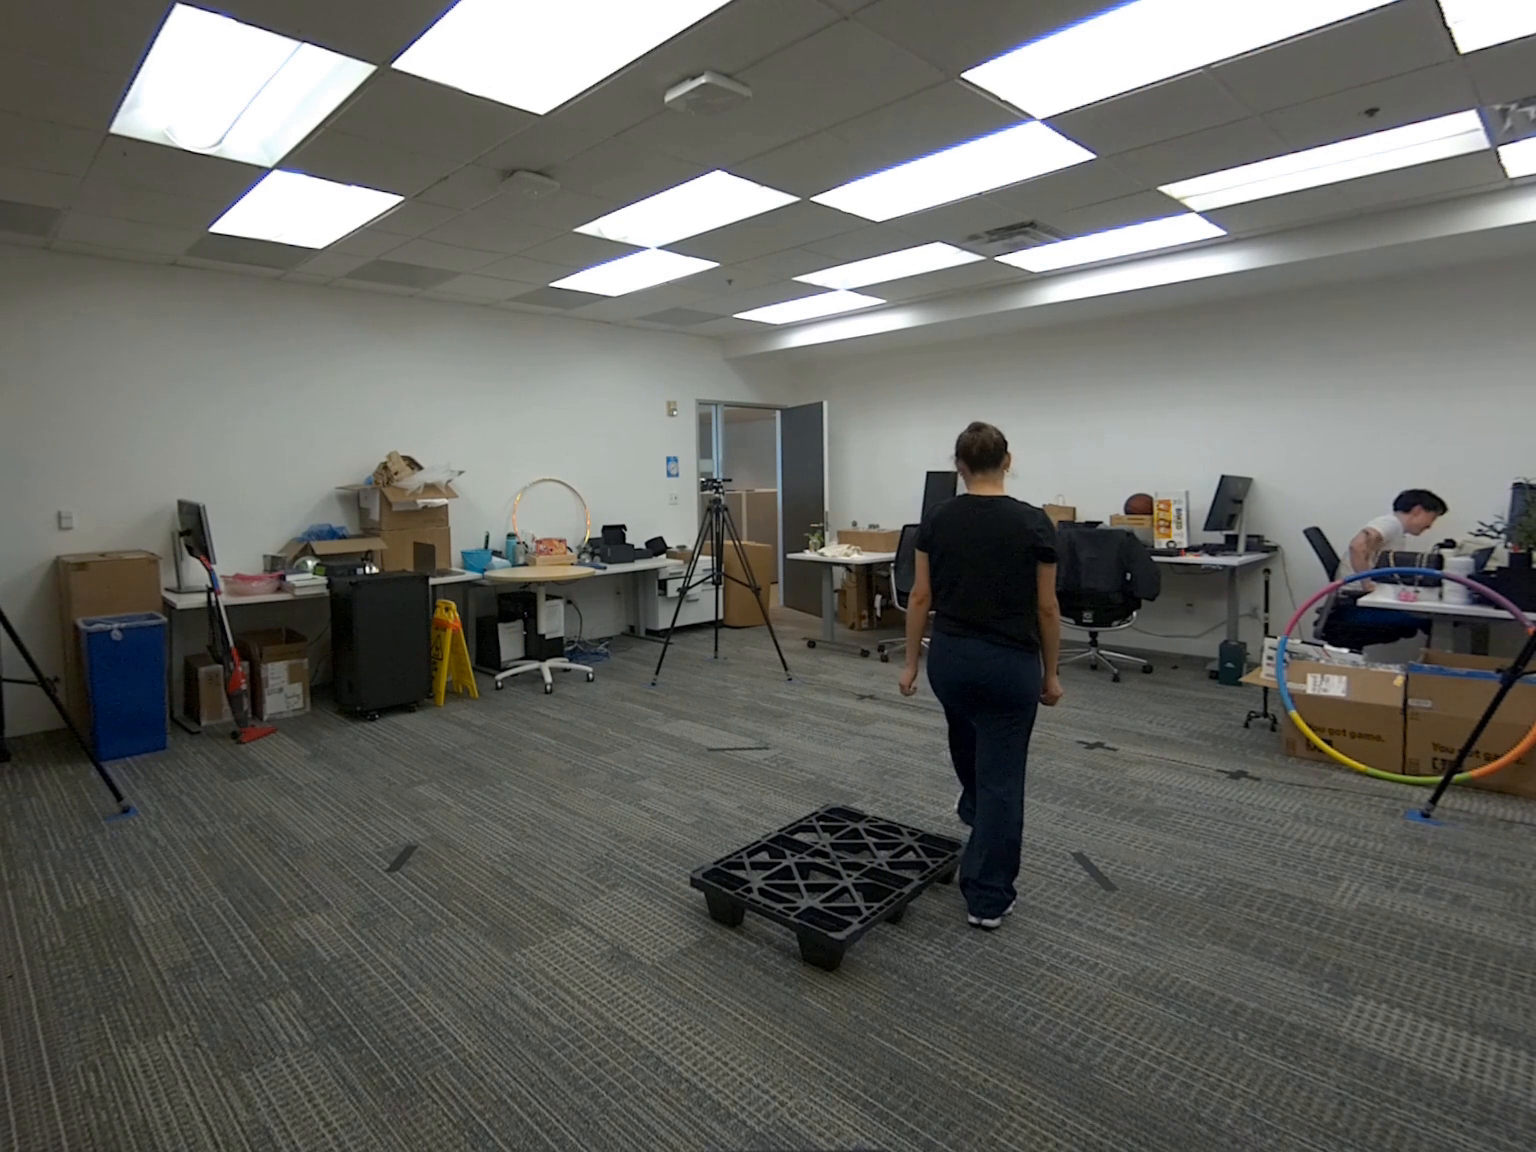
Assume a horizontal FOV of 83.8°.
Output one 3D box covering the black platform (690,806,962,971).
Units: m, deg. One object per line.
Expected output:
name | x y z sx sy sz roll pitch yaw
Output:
black platform | 0.231 1.003 2.848 0.624 0.142 0.785 5 9 40
